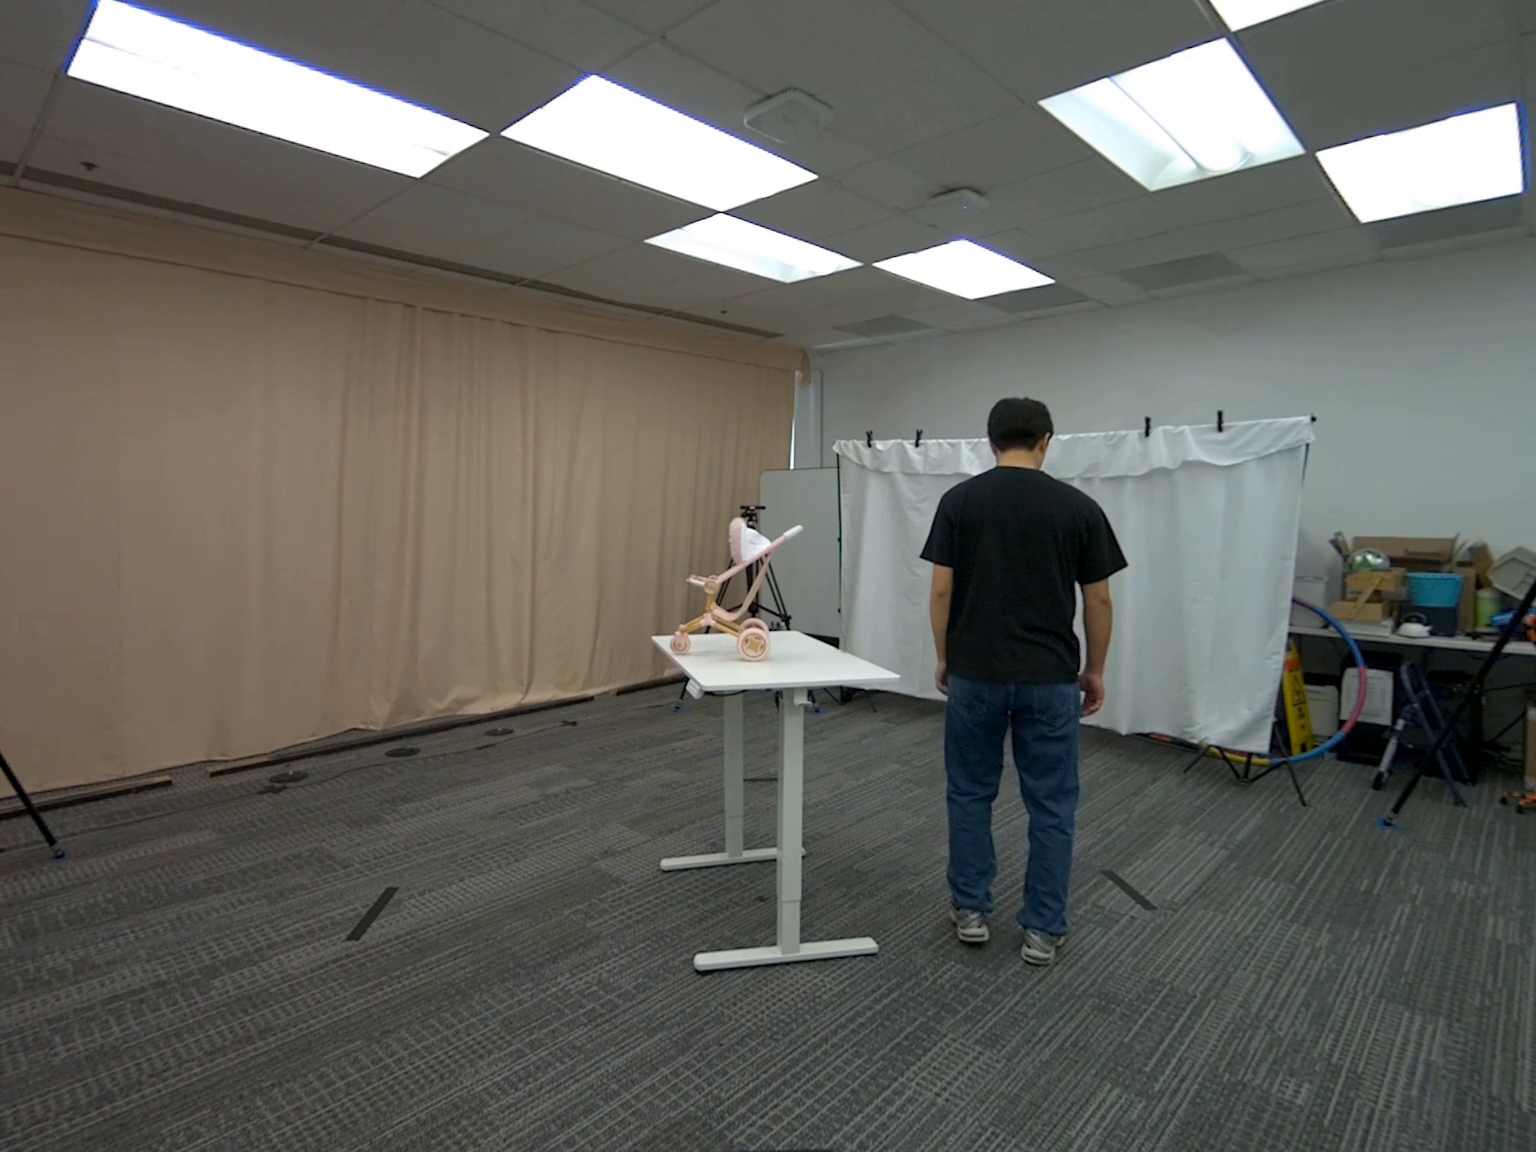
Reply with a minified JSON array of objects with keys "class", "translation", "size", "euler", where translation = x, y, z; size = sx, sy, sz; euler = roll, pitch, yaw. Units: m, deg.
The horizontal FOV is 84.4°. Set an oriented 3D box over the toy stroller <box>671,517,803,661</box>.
[{"class":"toy stroller","translation":[-0.116,0.047,2.869],"size":[0.344,0.534,0.280],"euler":[15,4,6]}]
